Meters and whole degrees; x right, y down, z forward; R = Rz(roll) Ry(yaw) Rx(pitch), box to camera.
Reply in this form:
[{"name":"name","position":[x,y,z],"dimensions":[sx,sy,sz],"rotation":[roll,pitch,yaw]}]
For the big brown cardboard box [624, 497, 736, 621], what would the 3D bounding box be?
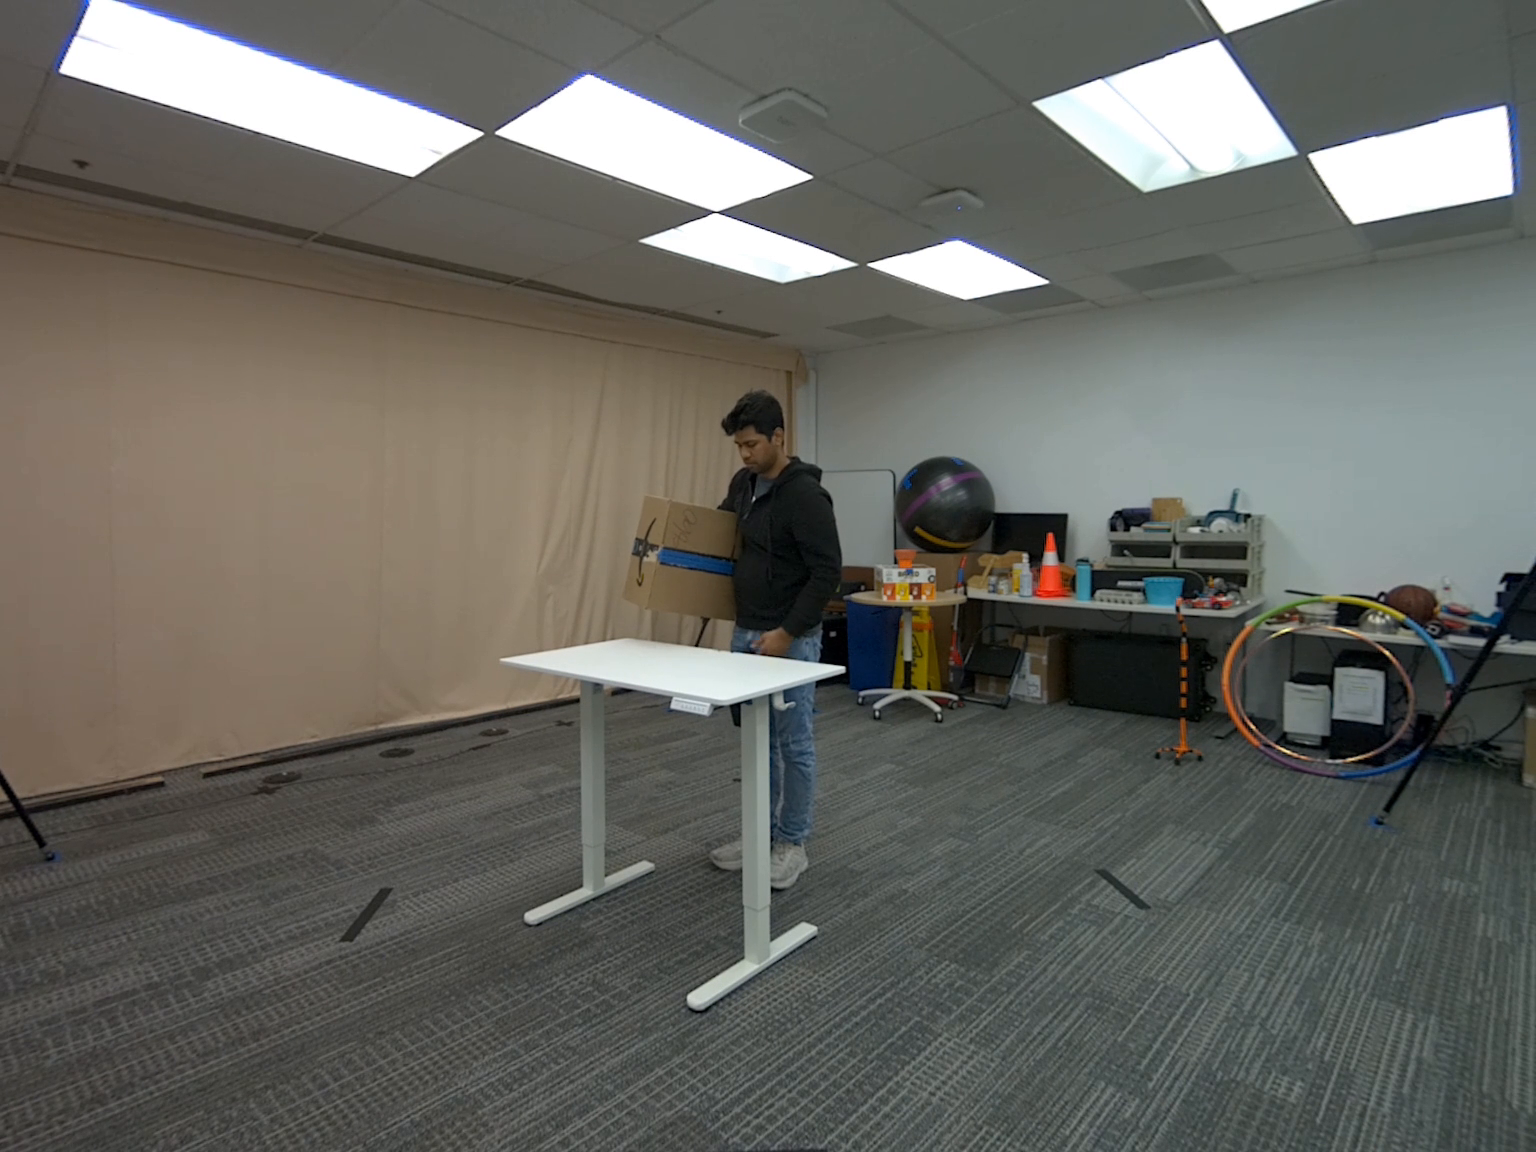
[{"name":"big brown cardboard box","position":[-0.227,-0.053,3.328],"dimensions":[0.571,0.417,0.240],"rotation":[10,2,-31]}]
